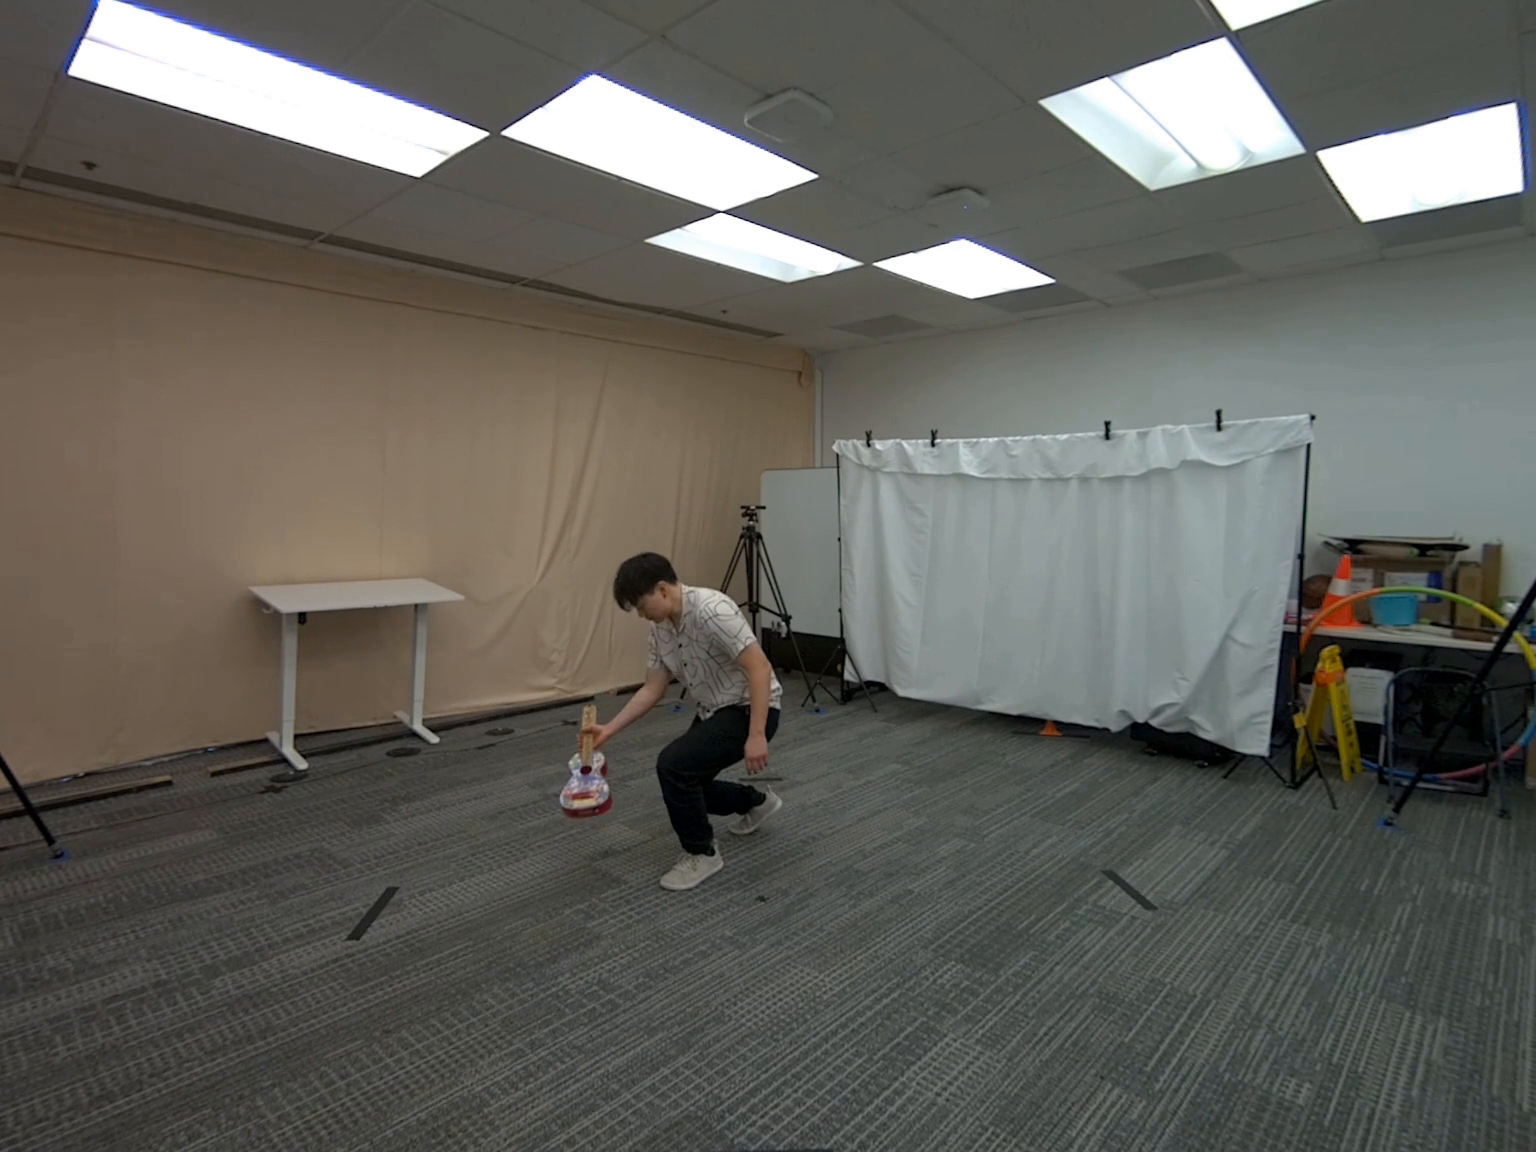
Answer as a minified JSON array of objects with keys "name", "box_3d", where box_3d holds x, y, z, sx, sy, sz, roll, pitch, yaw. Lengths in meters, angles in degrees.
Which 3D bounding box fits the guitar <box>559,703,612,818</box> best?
[{"name":"guitar","box_3d":[-0.682,0.728,3.344,0.194,0.069,0.506,-4,41,5]}]
